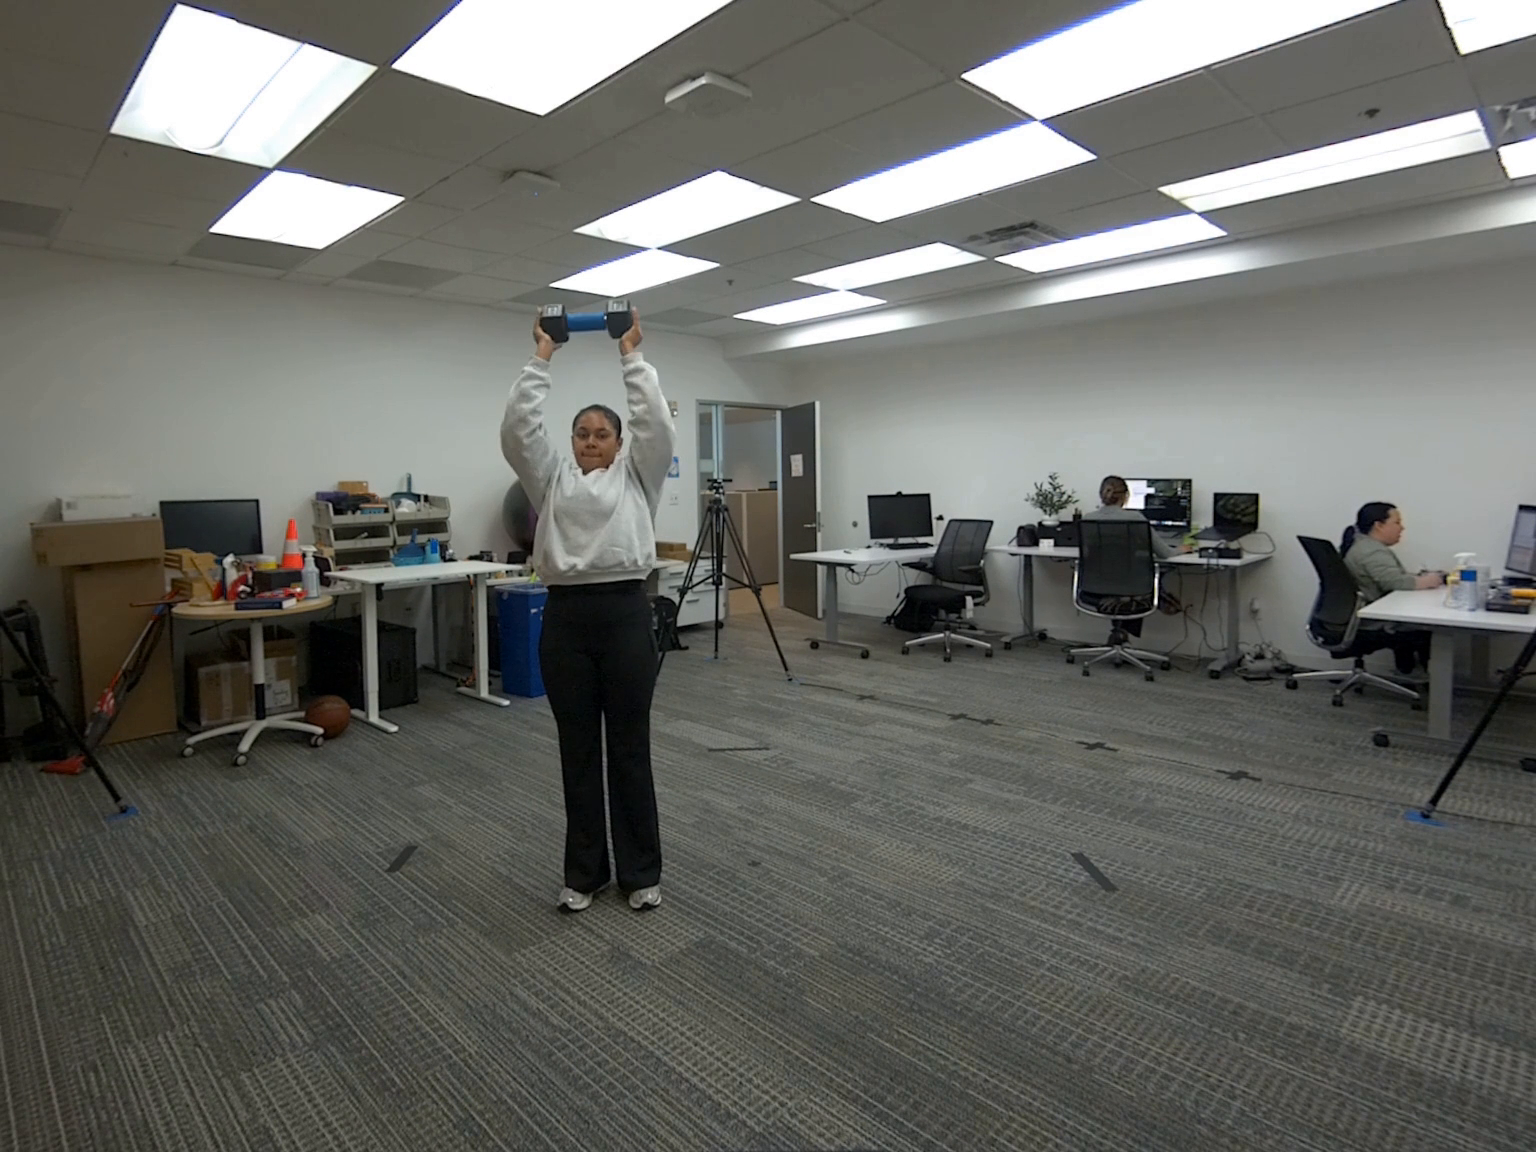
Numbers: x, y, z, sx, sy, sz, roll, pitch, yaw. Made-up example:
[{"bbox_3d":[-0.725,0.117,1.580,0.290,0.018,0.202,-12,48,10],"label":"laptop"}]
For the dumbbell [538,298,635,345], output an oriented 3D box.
[{"bbox_3d":[-0.583,-0.821,2.778,0.293,0.120,0.111,-3,28,-1],"label":"dumbbell"}]
